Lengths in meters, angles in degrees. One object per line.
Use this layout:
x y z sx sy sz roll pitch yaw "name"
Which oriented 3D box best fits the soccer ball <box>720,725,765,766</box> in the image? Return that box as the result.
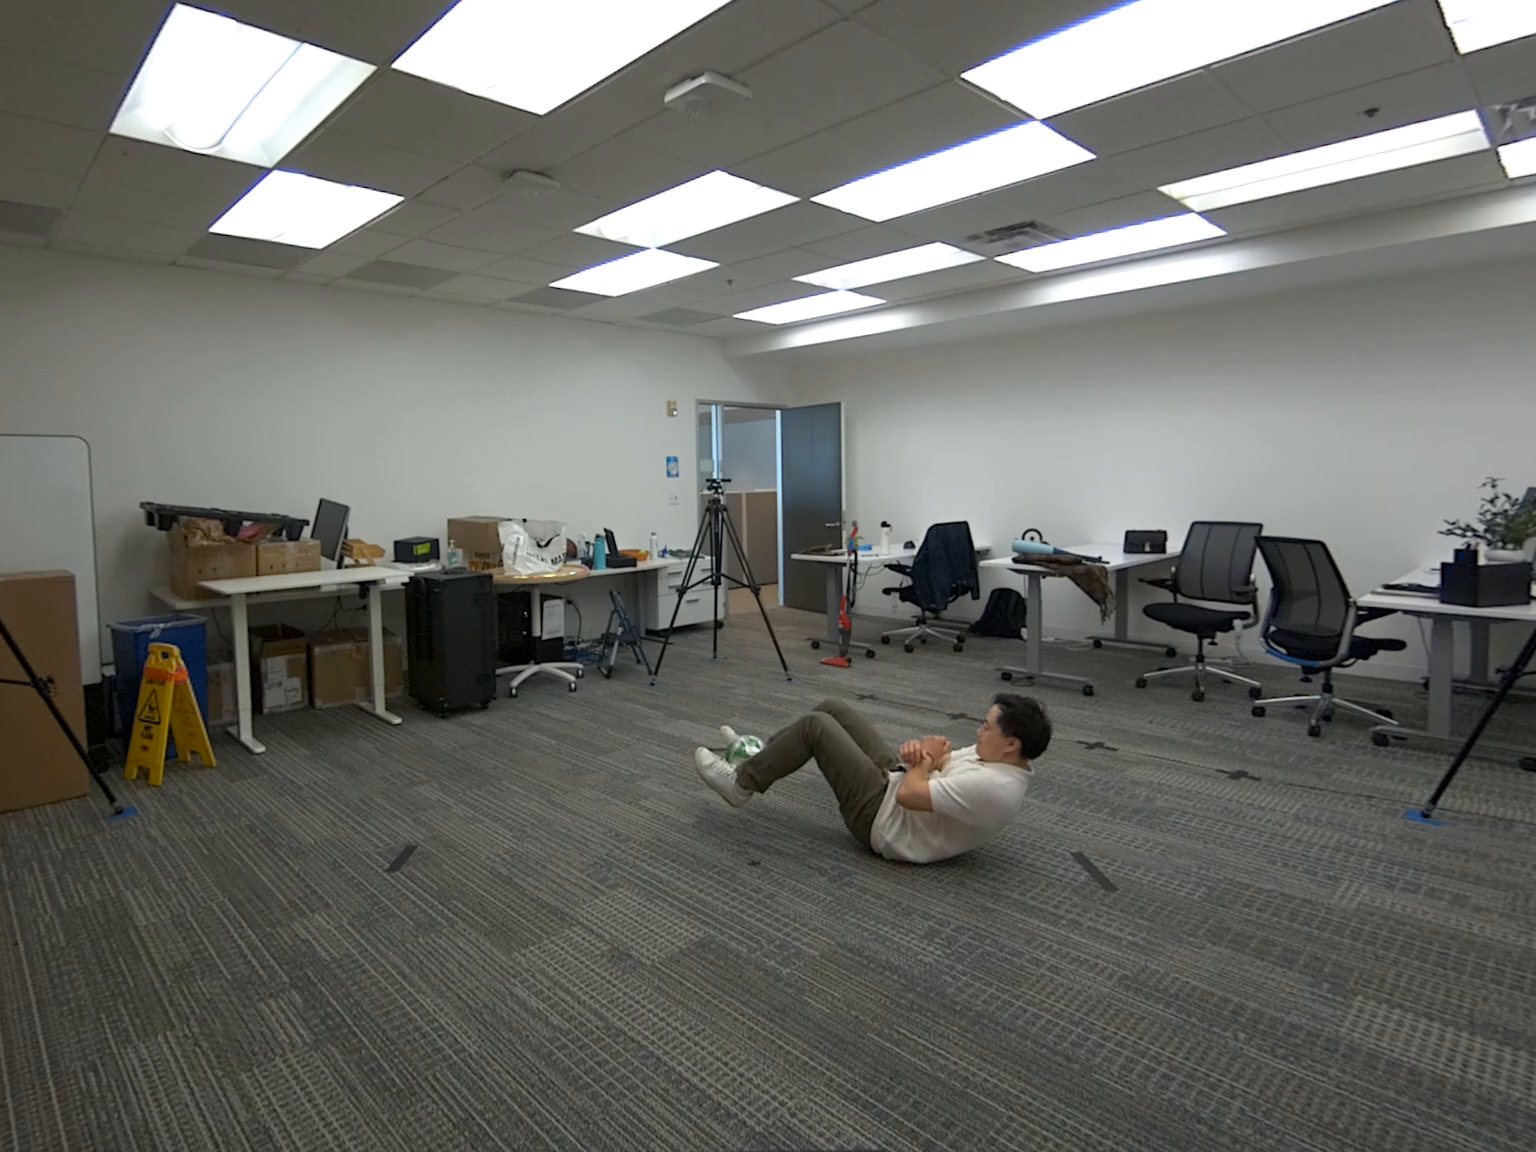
-0.071 0.741 3.471 0.187 0.187 0.188 -1 5 -2 "soccer ball"
